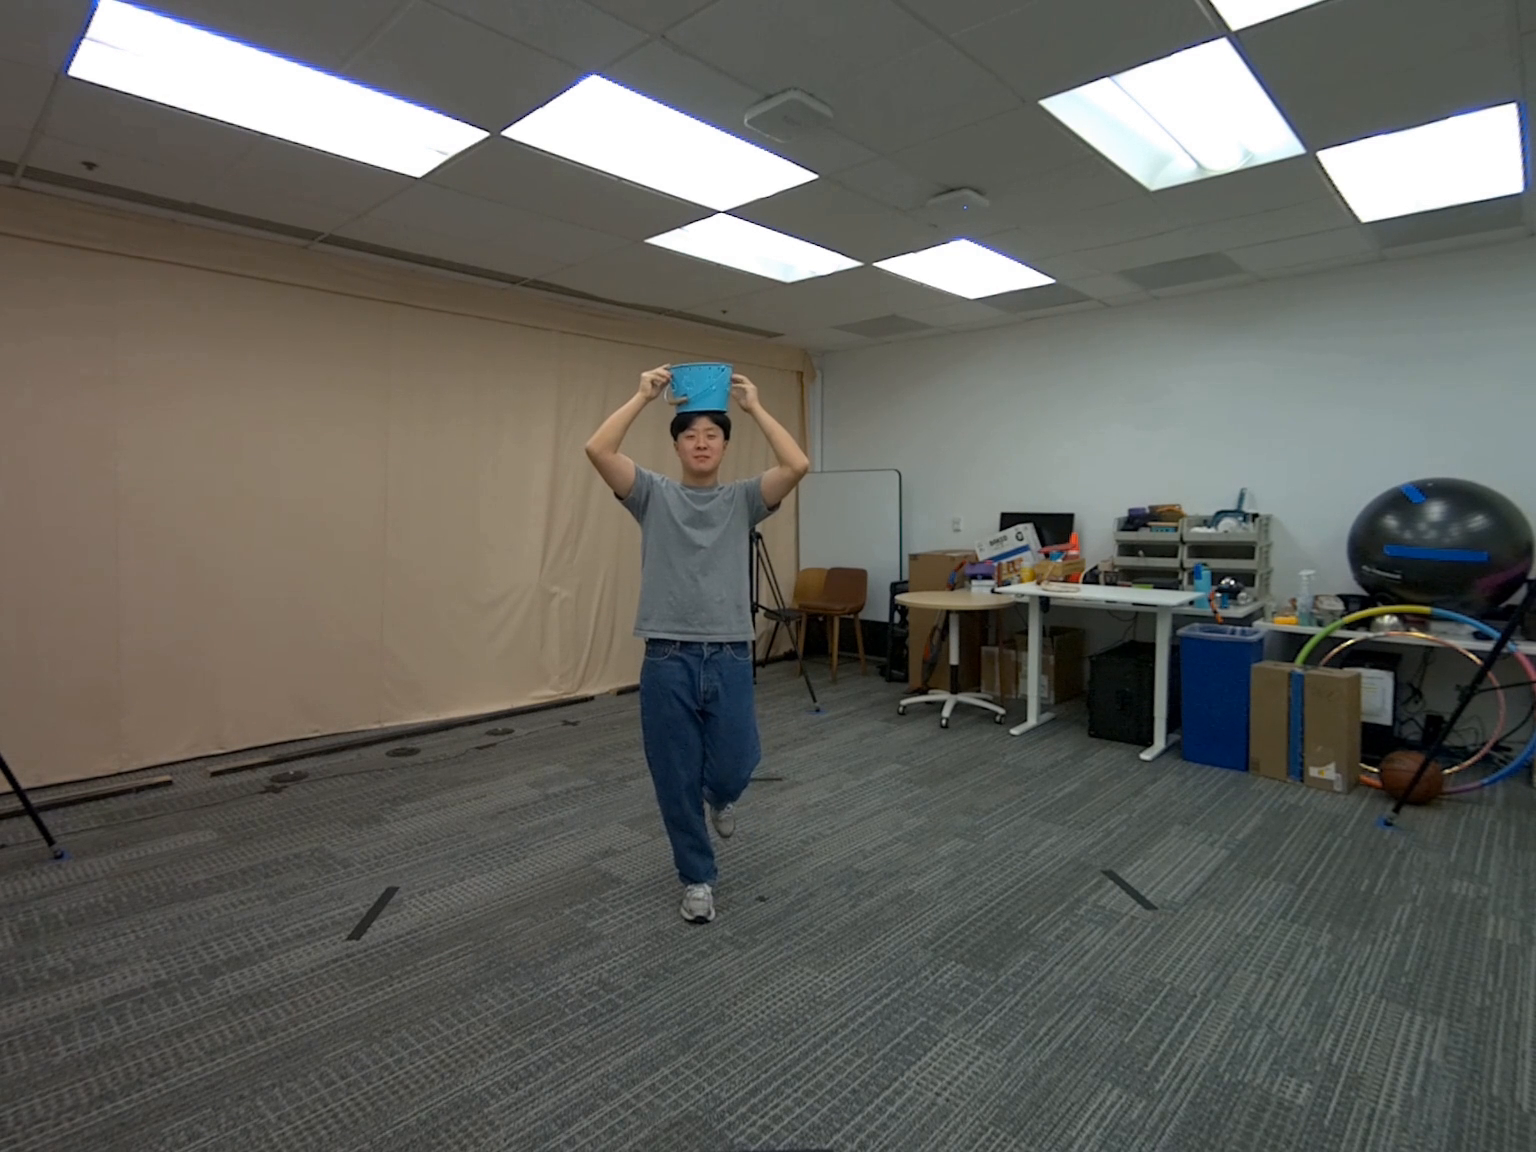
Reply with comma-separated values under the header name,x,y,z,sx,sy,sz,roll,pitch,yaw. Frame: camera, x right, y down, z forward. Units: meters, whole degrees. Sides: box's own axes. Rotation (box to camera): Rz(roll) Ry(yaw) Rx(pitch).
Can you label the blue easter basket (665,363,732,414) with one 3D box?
name,x,y,z,sx,sy,sz,roll,pitch,yaw
blue easter basket,-0.233,-0.636,2.889,0.243,0.155,0.244,-2,5,-2
